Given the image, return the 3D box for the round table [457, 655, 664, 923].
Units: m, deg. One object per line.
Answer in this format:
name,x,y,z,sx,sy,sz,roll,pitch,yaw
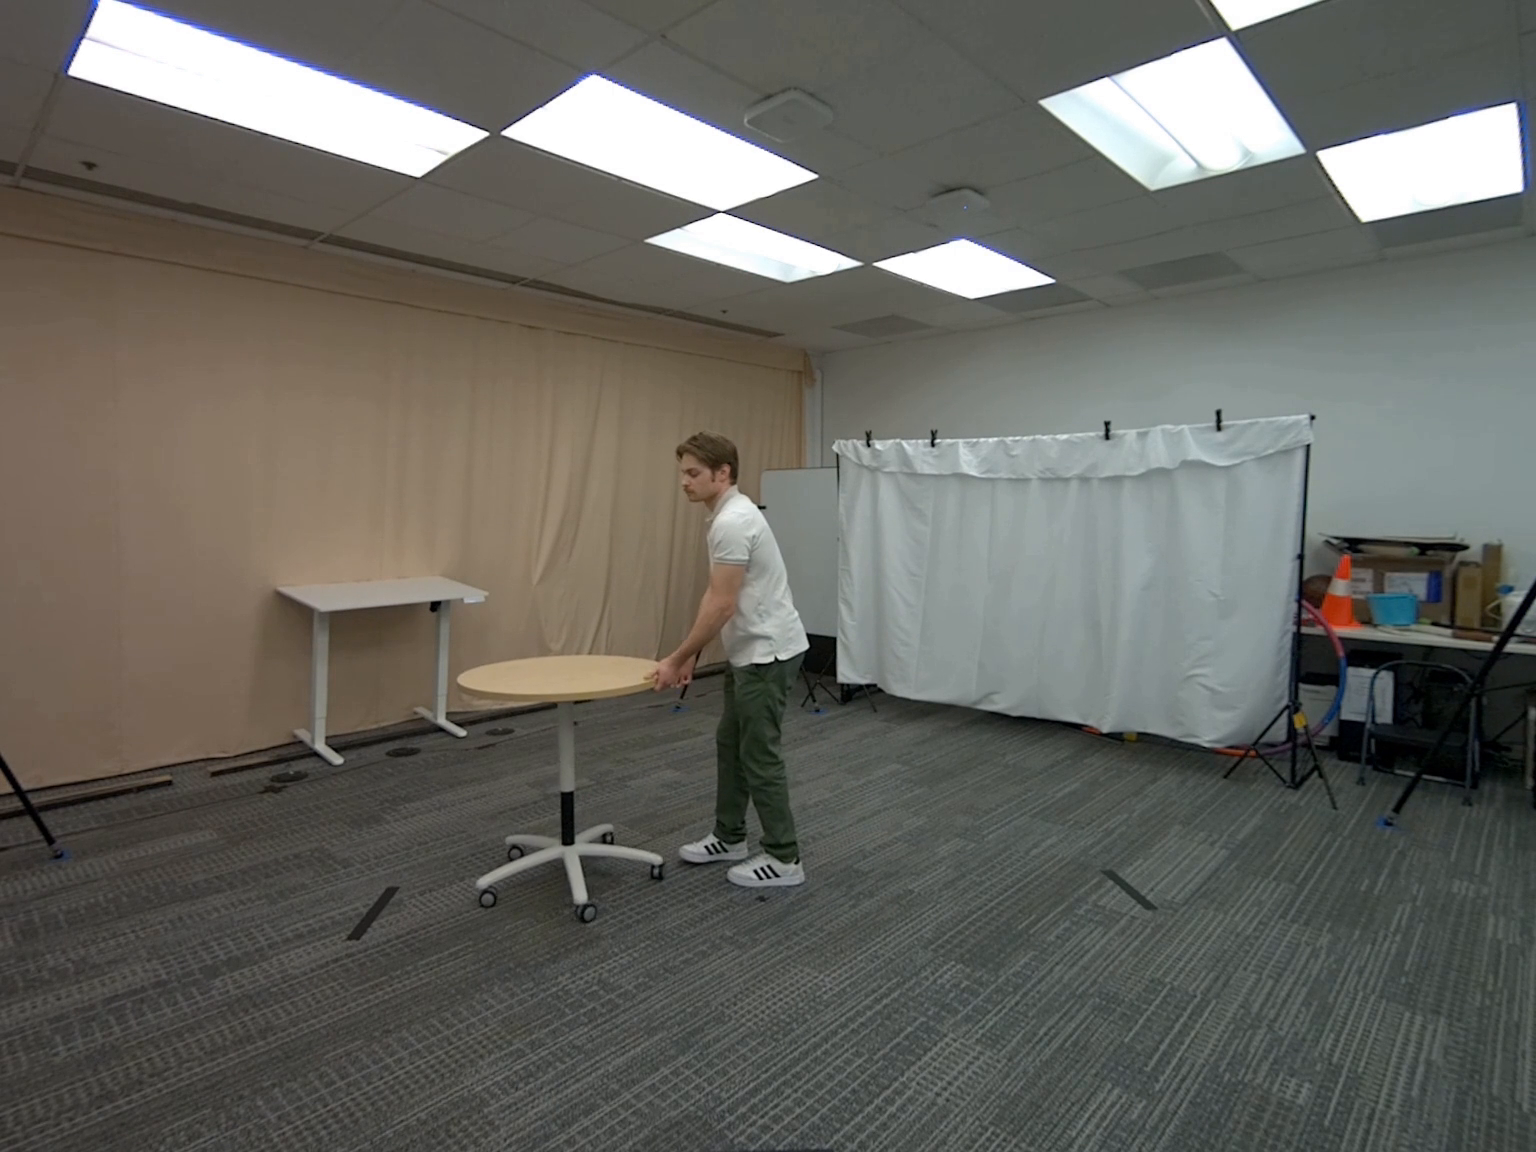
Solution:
round table,-0.749,0.751,3.132,0.763,0.792,0.766,-1,3,-2
